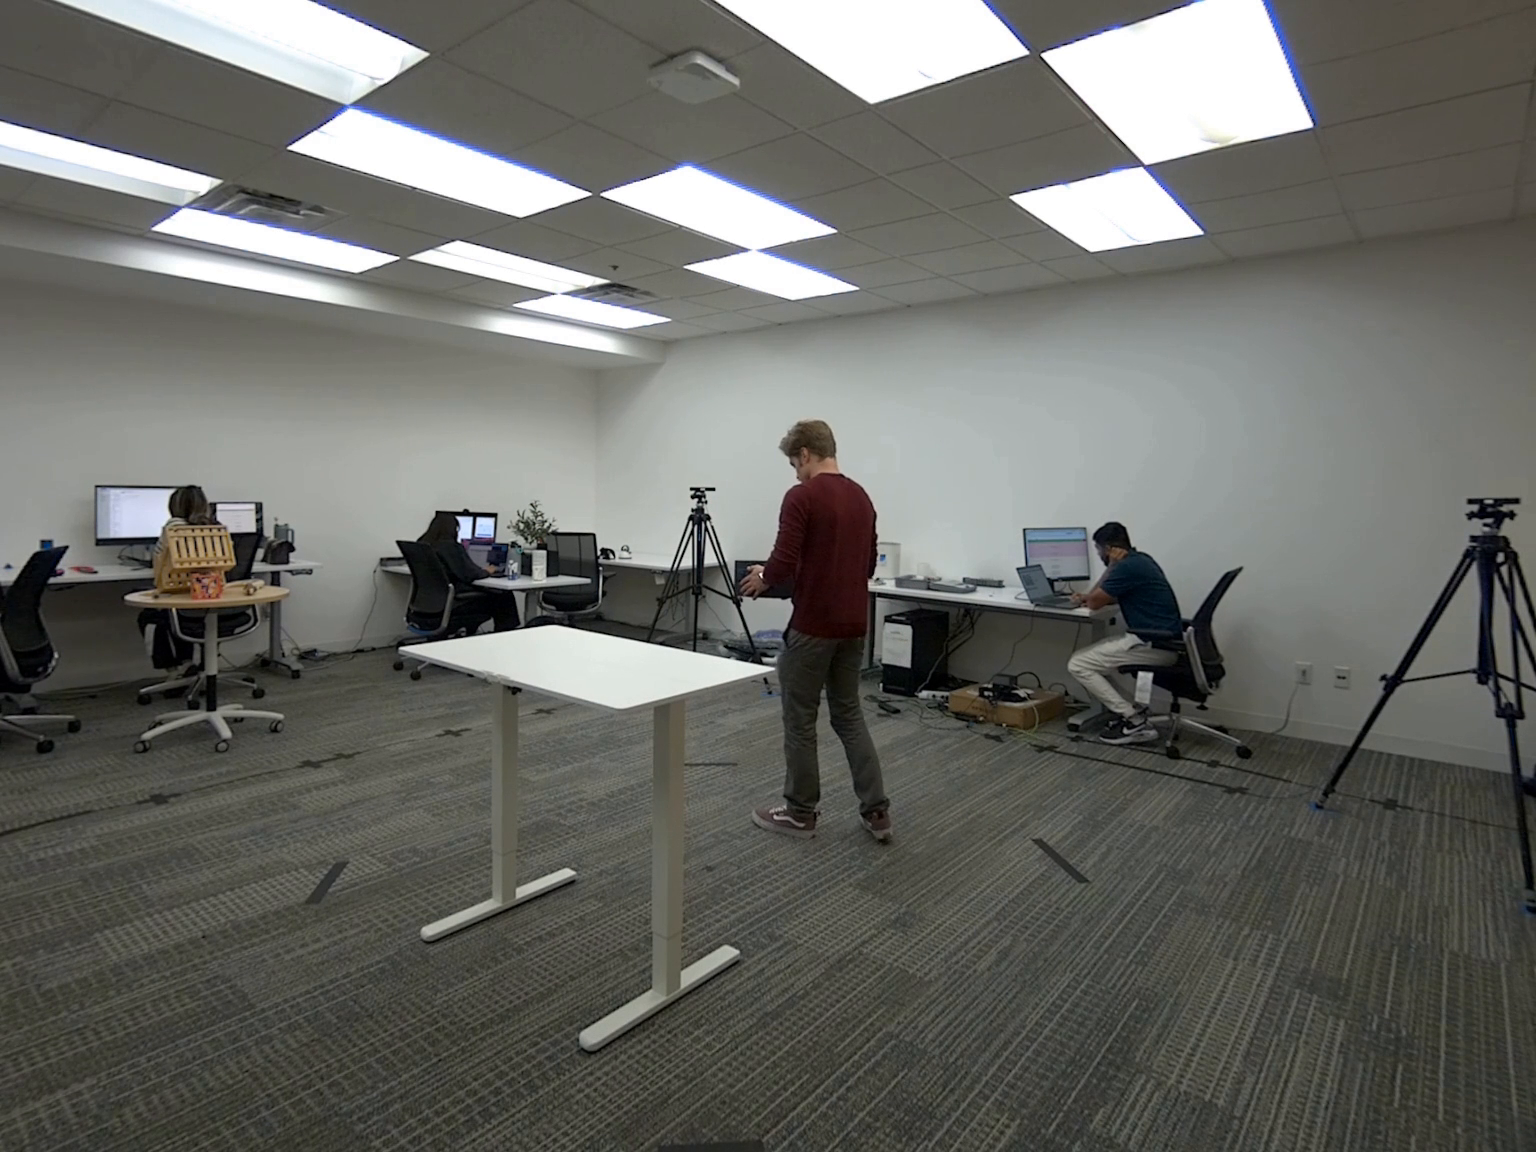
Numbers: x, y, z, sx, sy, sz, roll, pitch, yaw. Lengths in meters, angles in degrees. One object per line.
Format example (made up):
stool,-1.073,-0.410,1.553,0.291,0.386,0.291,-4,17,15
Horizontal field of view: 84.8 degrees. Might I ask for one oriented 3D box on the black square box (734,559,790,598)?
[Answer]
black square box,0.010,0.007,3.670,0.224,0.156,0.220,2,0,41
